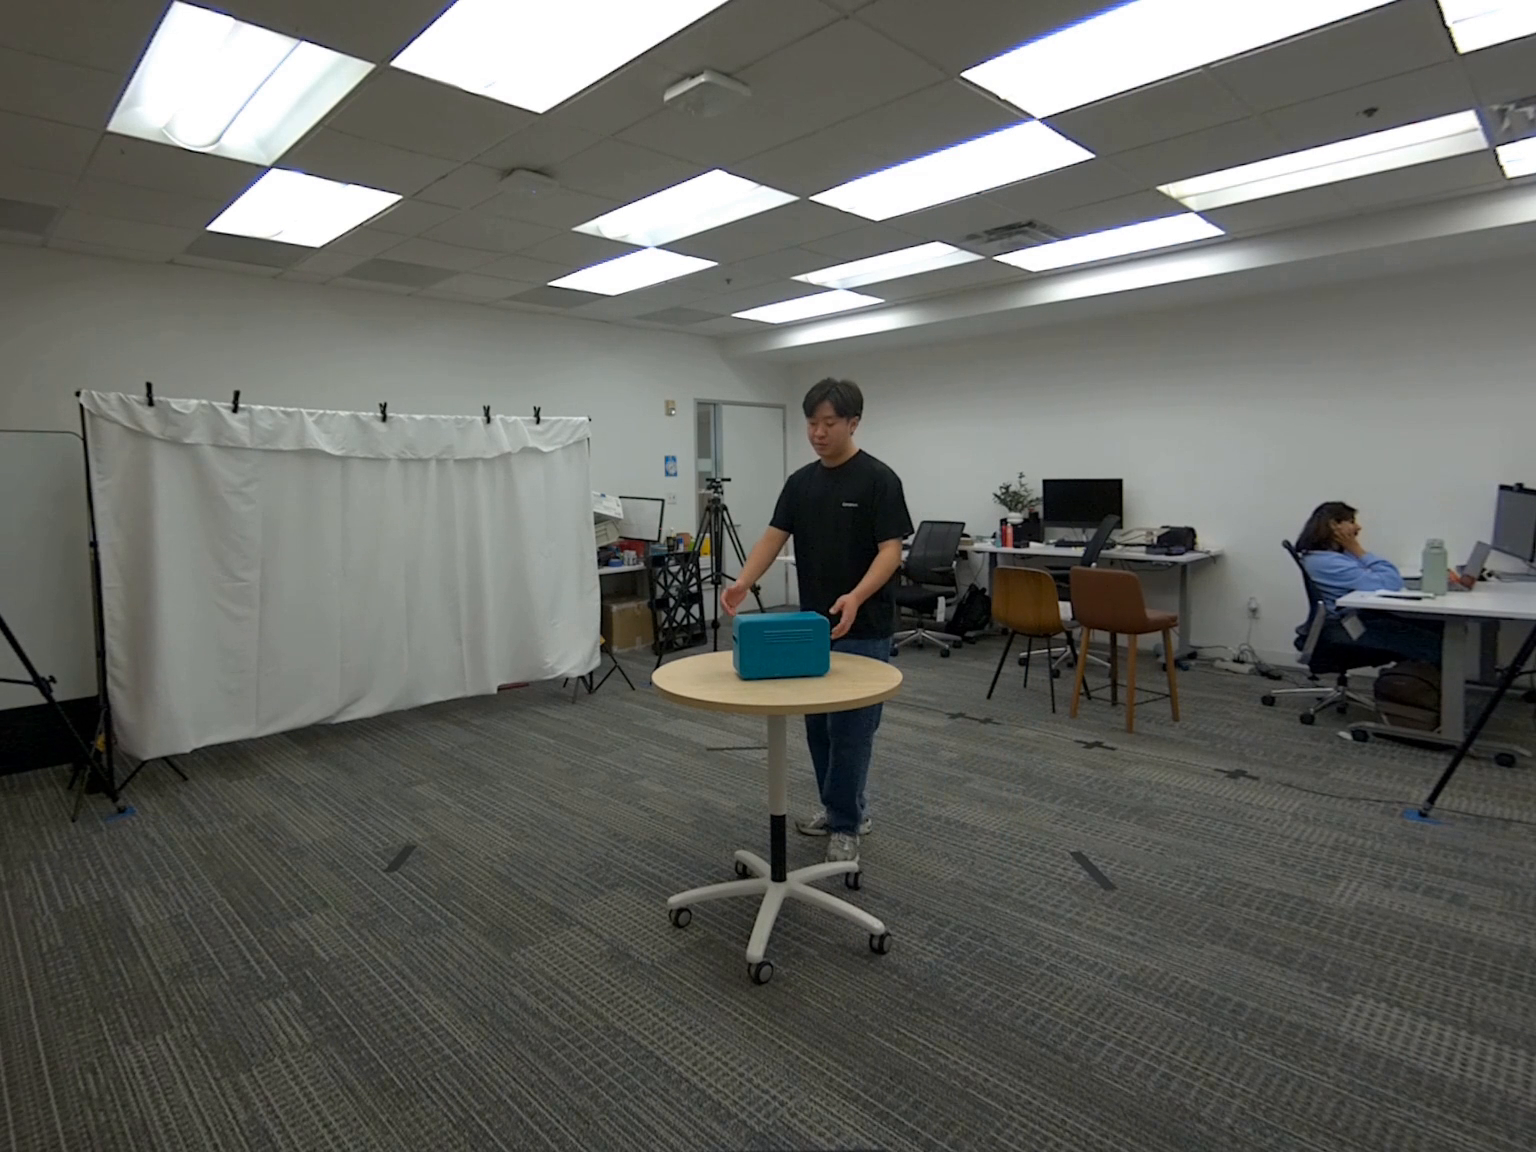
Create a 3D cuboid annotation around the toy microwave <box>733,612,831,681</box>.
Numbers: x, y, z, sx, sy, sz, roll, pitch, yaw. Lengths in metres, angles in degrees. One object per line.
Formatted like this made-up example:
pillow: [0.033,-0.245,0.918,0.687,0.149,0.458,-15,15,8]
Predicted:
toy microwave: [0.041,0.210,2.615,0.284,0.183,0.154,-1,4,-7]
